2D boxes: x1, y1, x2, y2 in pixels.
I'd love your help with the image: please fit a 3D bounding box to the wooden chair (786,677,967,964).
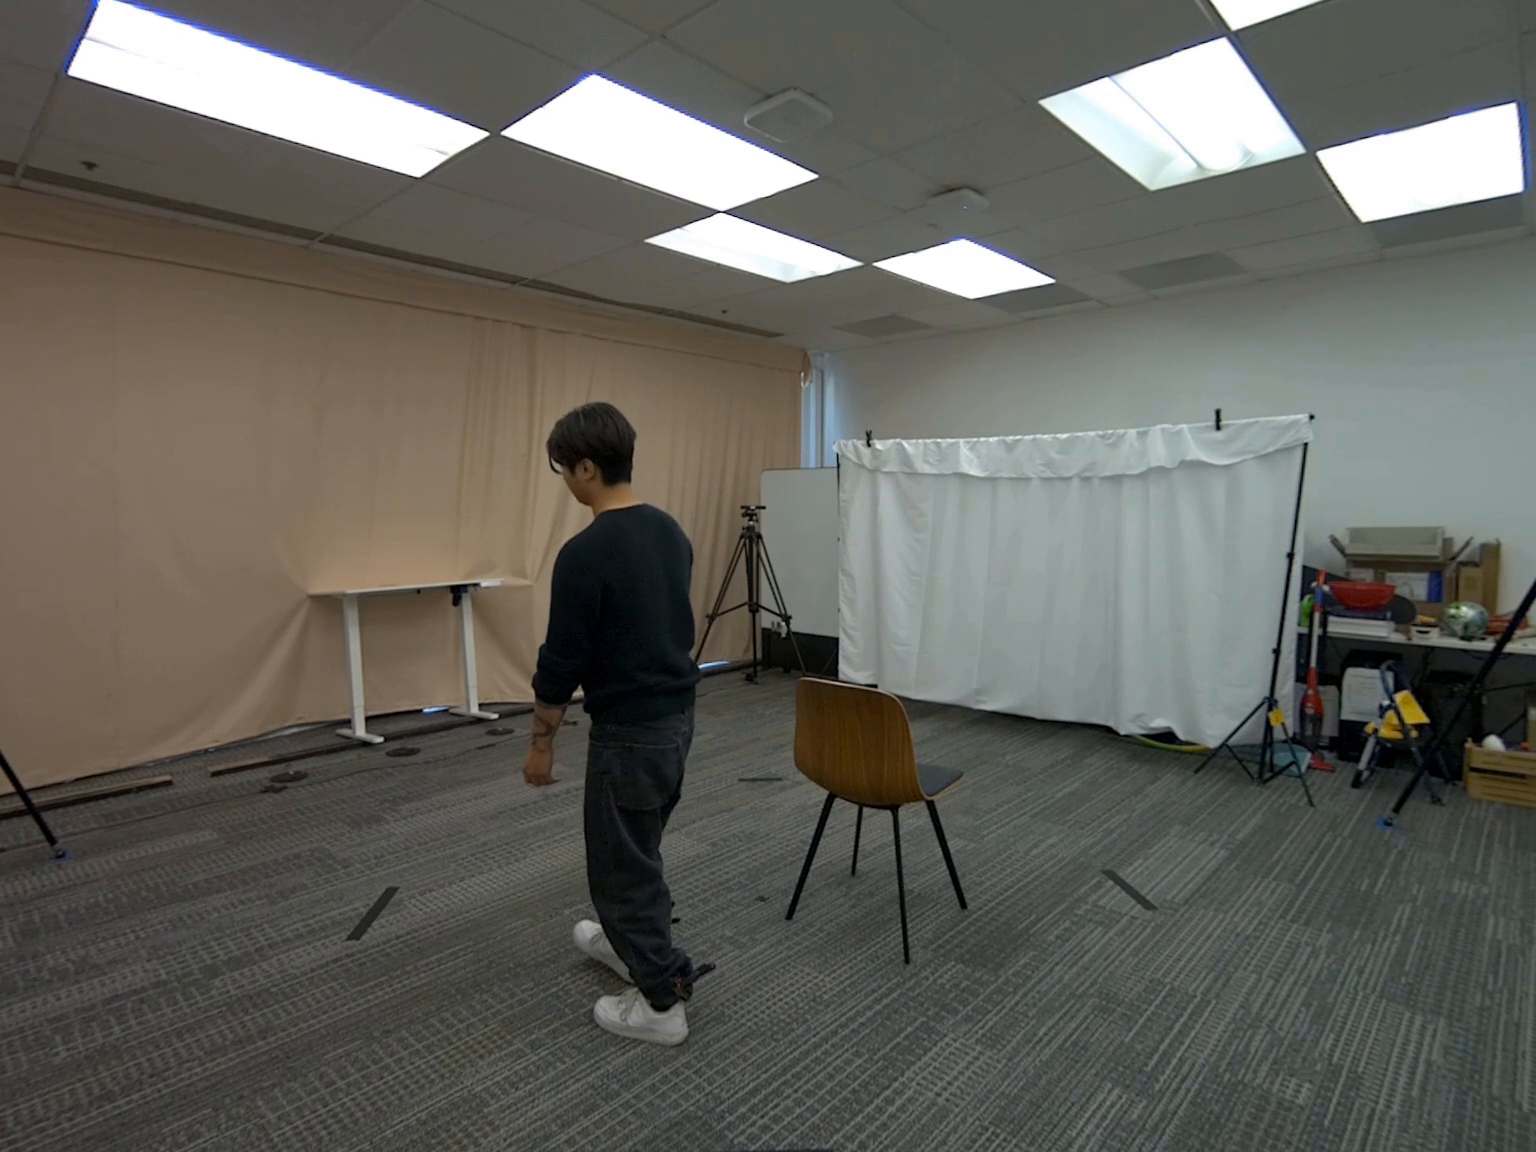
[{"bbox_3d":[0.379,0.725,2.842,0.493,0.873,0.509,2,8,37],"label":"wooden chair"}]
